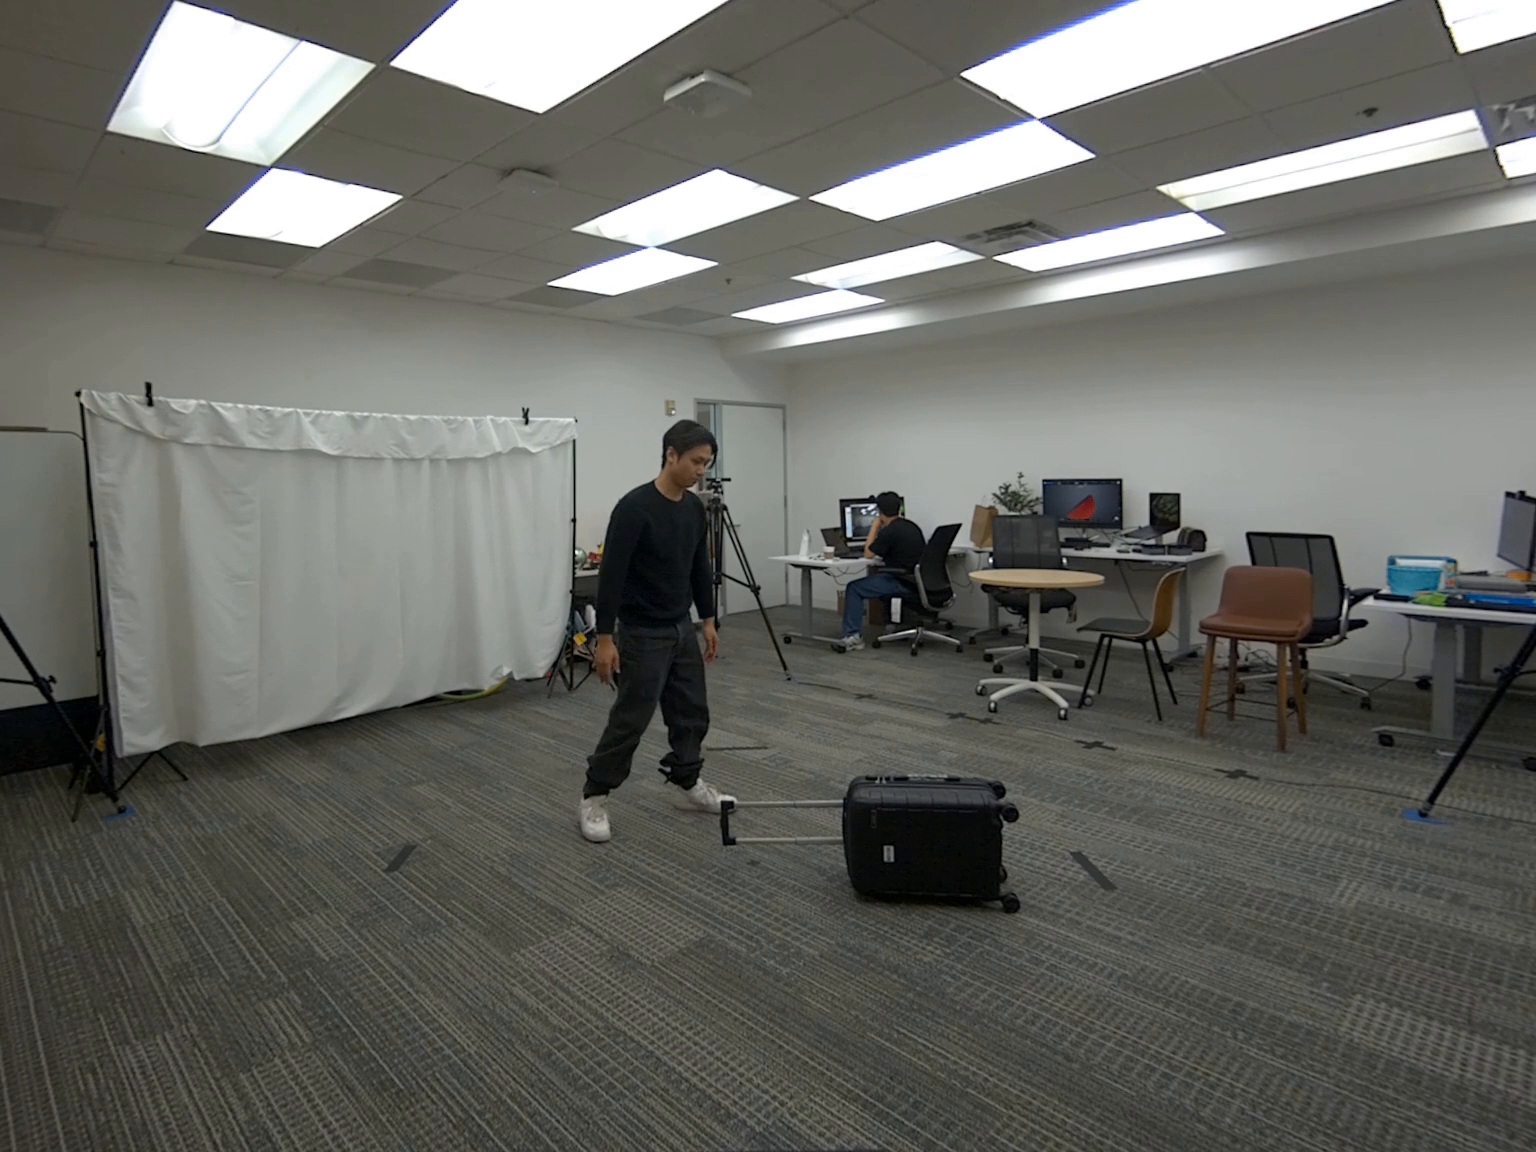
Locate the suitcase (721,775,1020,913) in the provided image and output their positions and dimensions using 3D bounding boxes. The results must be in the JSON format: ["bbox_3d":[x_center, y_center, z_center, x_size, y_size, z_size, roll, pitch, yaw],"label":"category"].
[{"bbox_3d":[0.323,0.873,2.880,0.984,0.383,0.256,-1,3,6],"label":"suitcase"}]
